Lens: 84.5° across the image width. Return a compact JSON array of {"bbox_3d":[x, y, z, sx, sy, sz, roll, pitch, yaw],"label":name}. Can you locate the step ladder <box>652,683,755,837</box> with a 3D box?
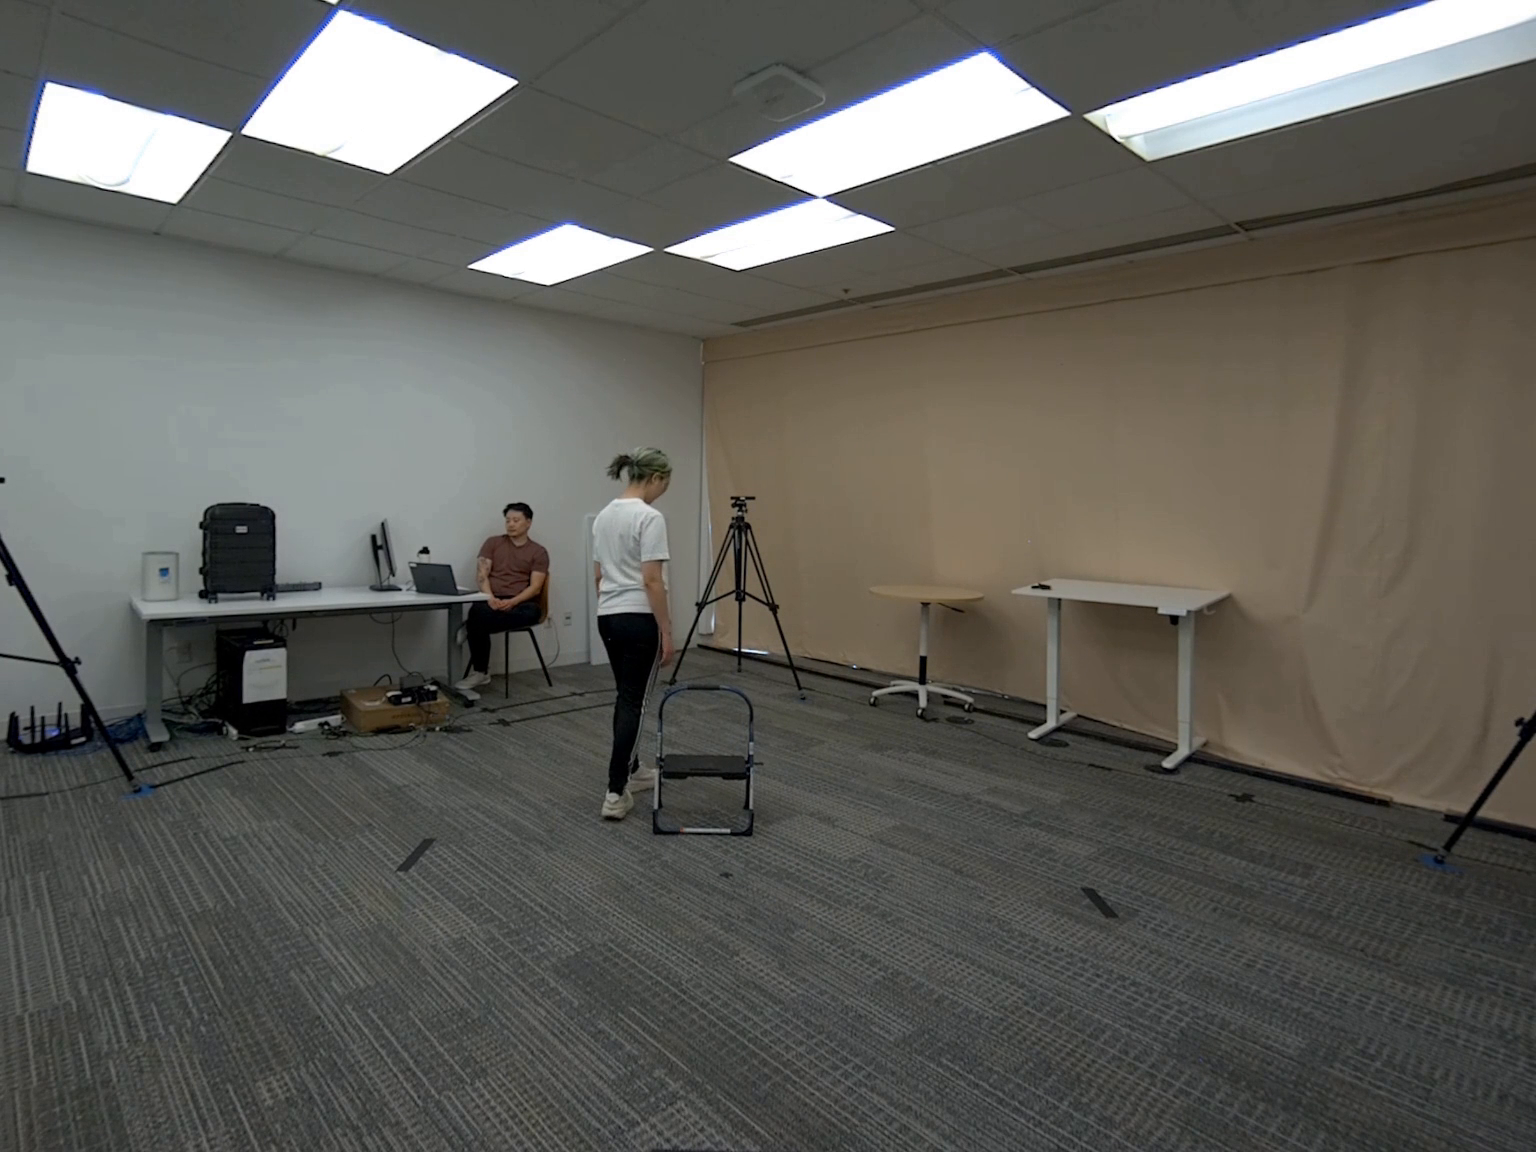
[{"bbox_3d":[-0.279,0.756,3.620,0.429,0.605,0.351,1,3,-4],"label":"step ladder"}]
